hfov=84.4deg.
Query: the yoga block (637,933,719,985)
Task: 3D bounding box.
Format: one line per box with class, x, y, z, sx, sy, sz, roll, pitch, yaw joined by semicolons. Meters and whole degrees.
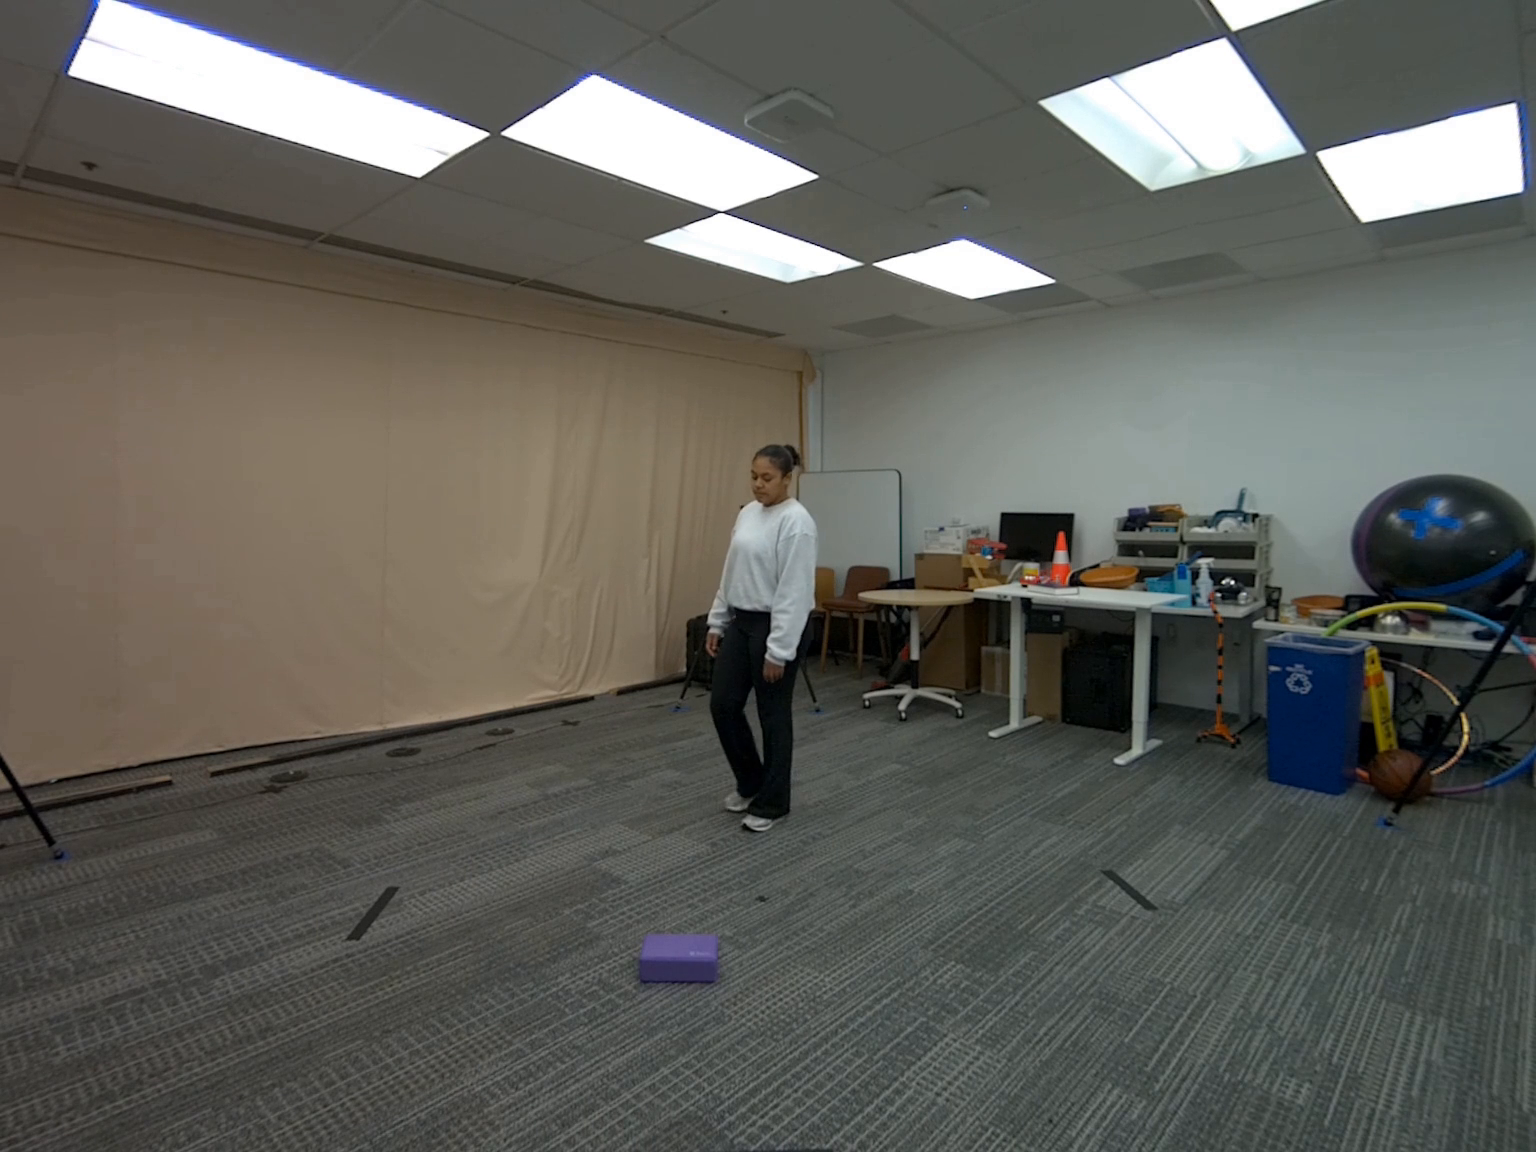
yoga block;-0.264;1.139;2.527;0.230;0.076;0.149;0;4;1
